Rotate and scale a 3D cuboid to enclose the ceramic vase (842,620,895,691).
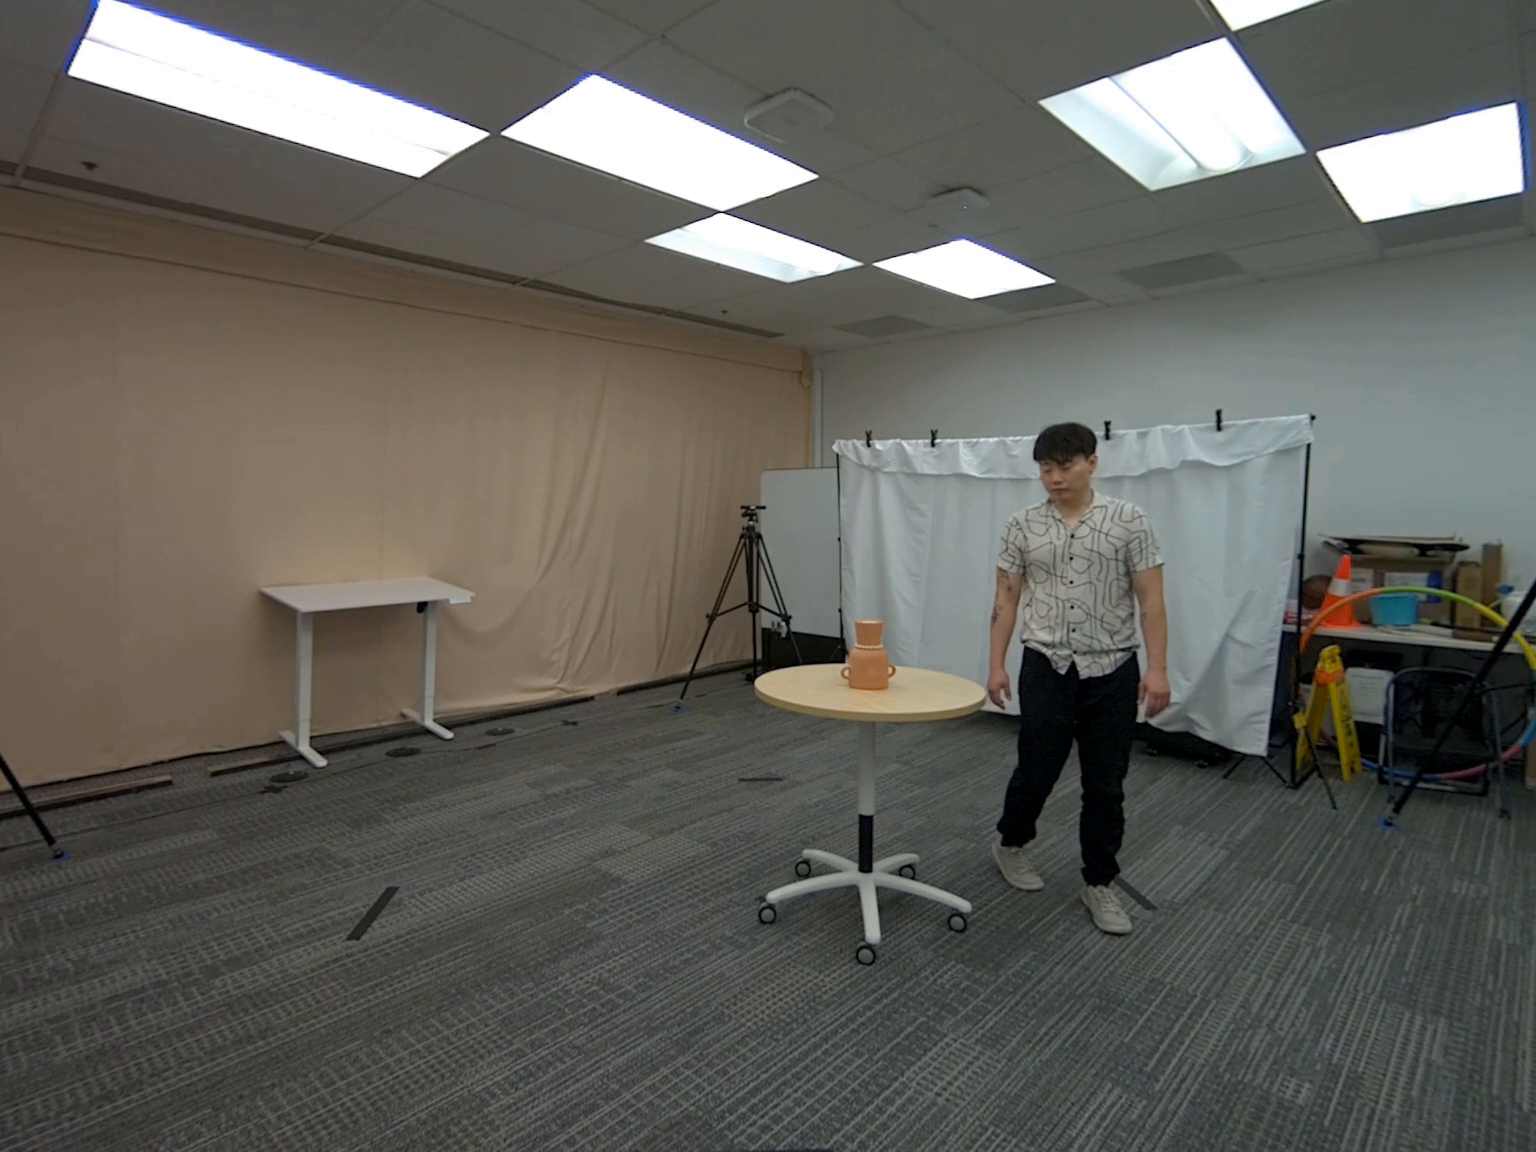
[{"bbox_3d":[0.351,0.265,2.834,0.139,0.219,0.154,3,4,33],"label":"ceramic vase"}]
